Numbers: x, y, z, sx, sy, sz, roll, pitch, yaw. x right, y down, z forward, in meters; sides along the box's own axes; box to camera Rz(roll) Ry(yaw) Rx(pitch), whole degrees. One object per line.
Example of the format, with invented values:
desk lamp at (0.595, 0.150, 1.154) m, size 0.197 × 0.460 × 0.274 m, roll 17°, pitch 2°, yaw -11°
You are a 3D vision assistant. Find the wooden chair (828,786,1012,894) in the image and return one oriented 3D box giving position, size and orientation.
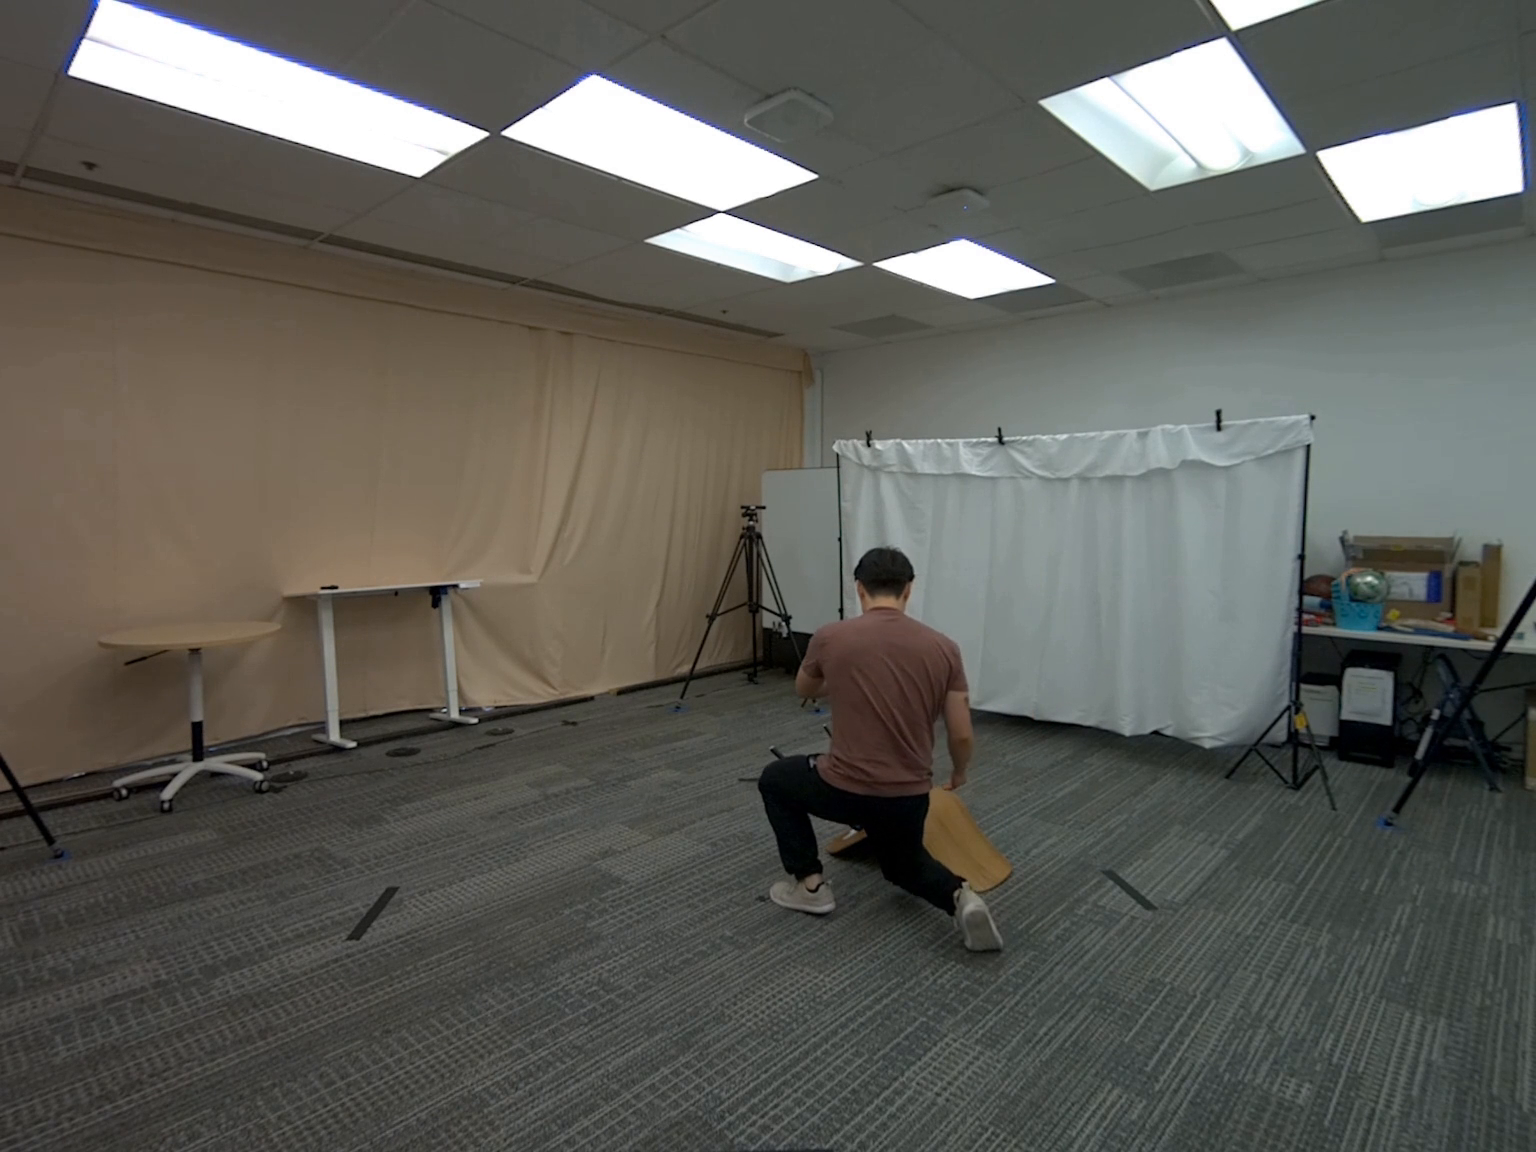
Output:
wooden chair at (0.489, 0.937, 3.410) m, size 0.527 × 0.897 × 0.464 m, roll -45°, pitch -22°, yaw 28°
